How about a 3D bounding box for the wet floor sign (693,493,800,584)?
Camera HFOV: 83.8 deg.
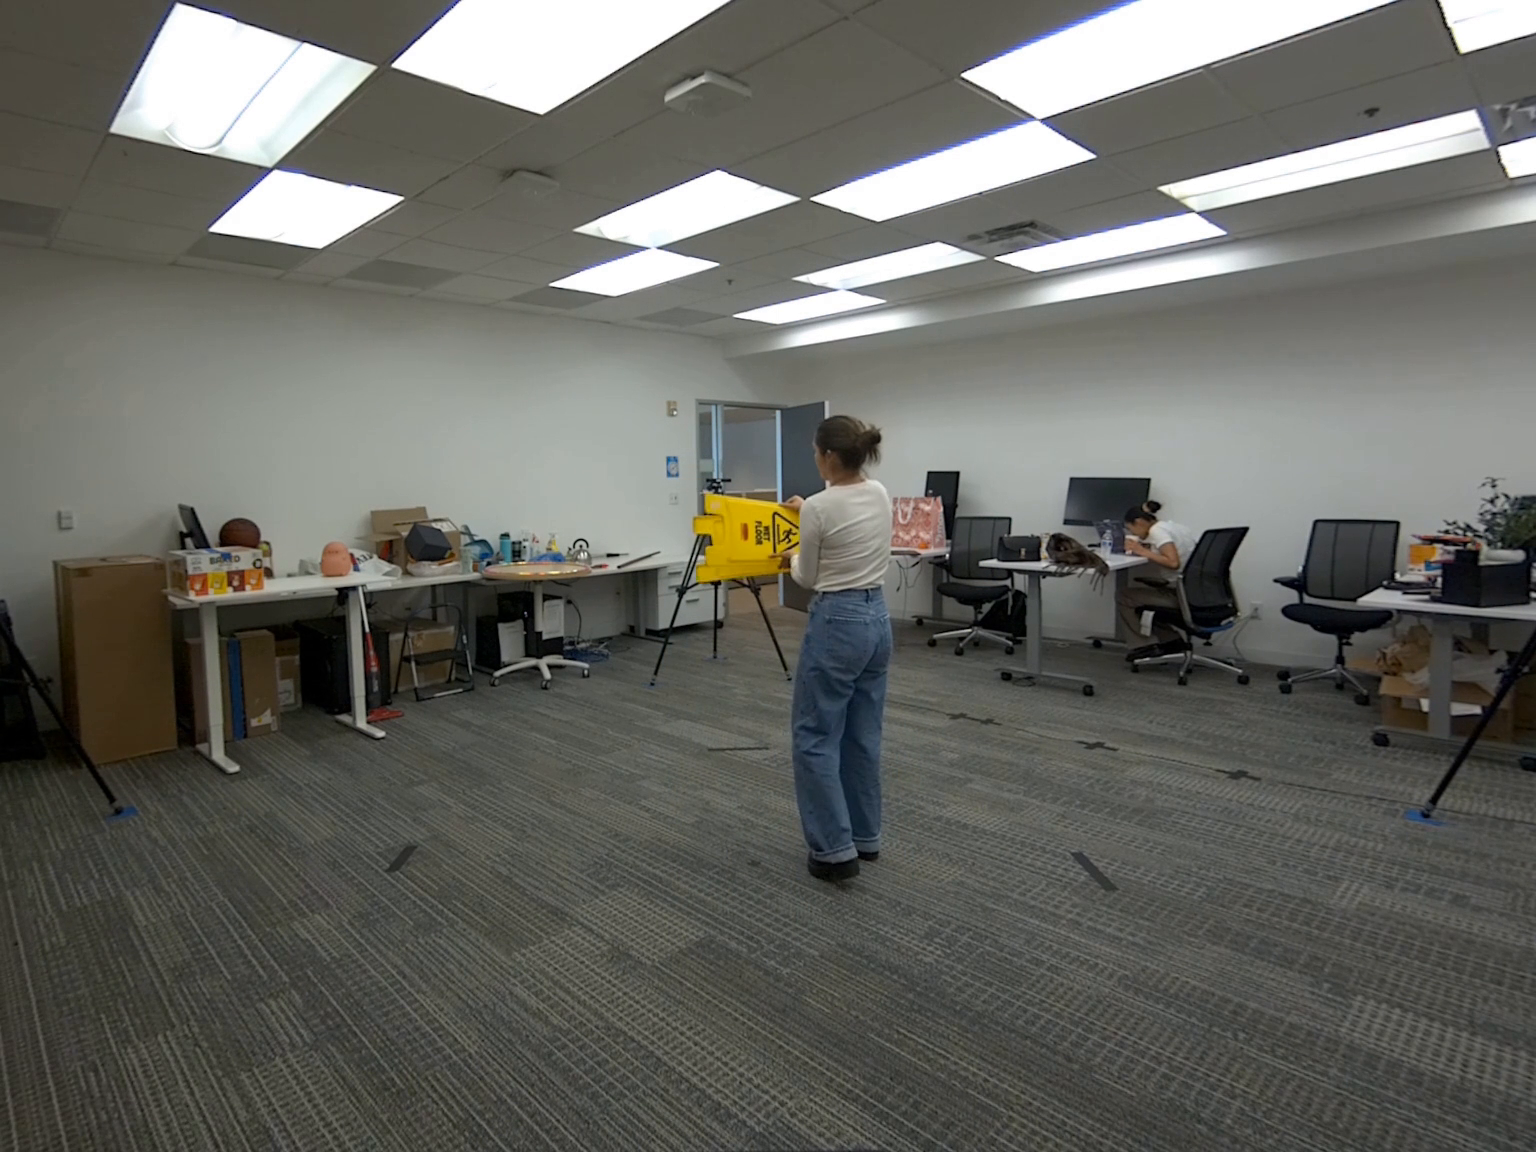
[{"bbox_3d":[0.044,-0.153,3.438,0.639,0.286,0.289,0,-13,-11],"label":"wet floor sign"}]
